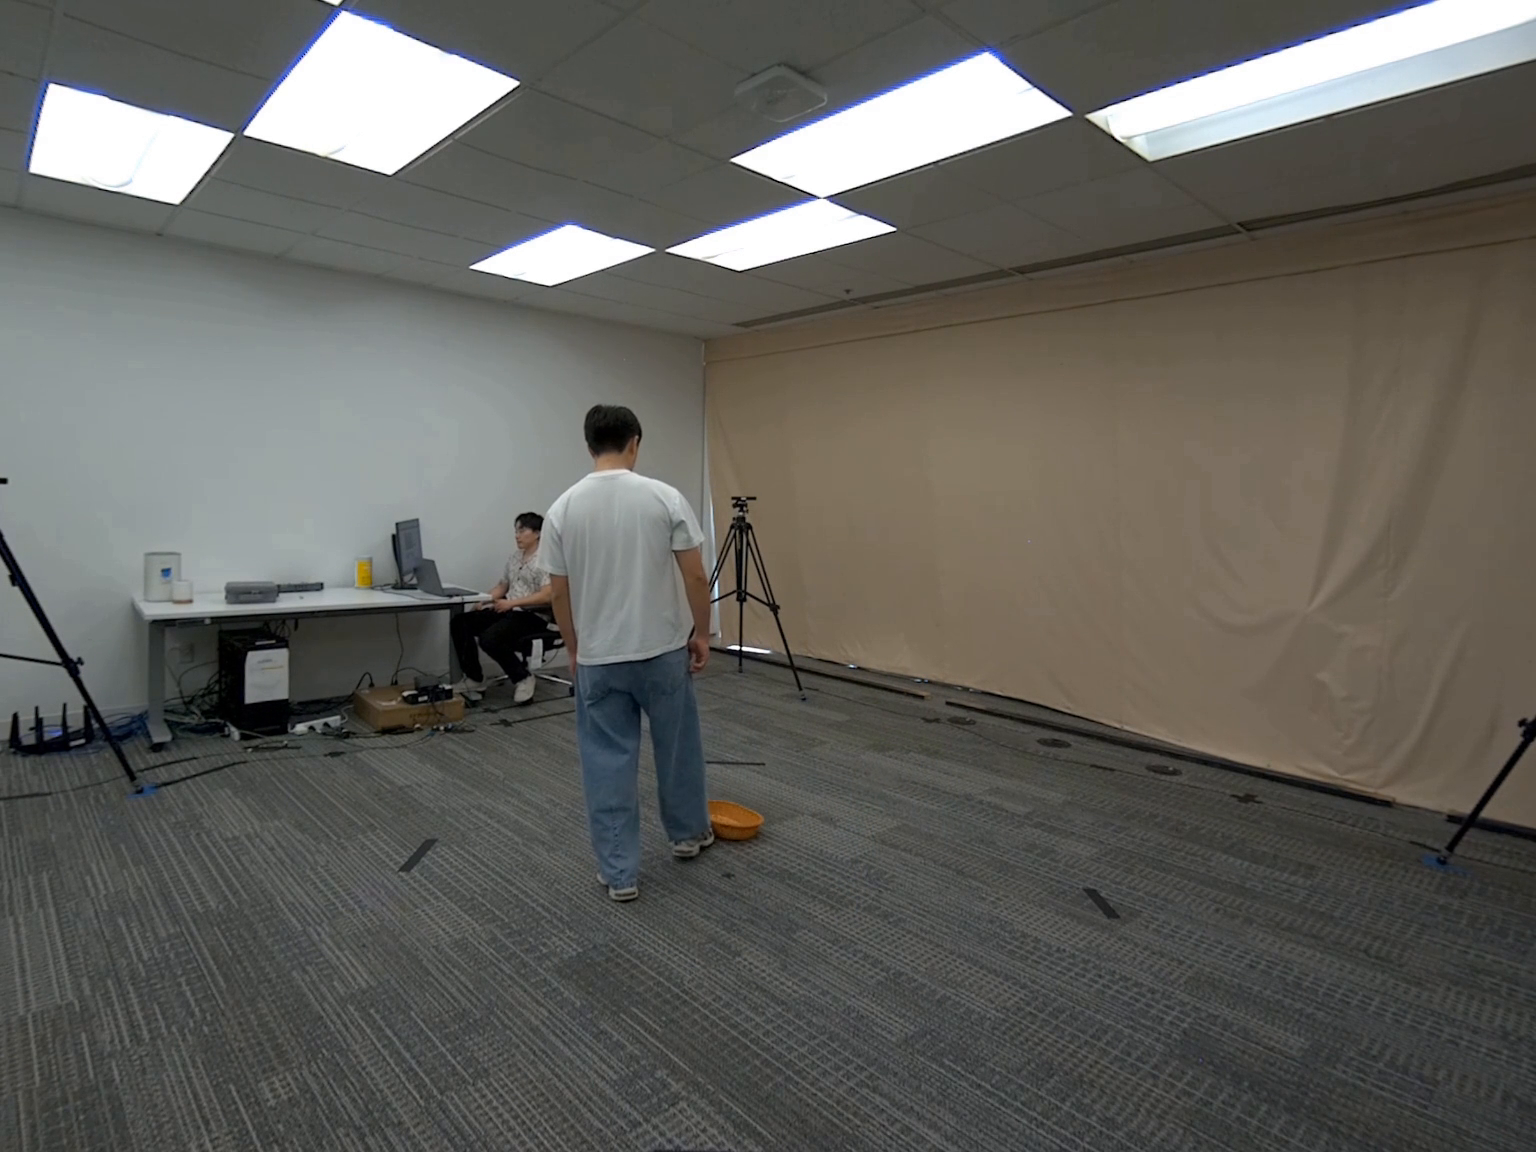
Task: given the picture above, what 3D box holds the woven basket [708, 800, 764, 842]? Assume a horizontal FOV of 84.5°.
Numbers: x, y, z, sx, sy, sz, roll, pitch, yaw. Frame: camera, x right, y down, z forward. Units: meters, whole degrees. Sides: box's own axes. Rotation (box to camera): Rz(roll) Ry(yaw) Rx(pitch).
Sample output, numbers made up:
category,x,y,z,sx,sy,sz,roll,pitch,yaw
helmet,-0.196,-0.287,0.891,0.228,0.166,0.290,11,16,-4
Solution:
category,x,y,z,sx,sy,sz,roll,pitch,yaw
woven basket,-0.185,1.026,3.520,0.246,0.073,0.359,4,3,-44
